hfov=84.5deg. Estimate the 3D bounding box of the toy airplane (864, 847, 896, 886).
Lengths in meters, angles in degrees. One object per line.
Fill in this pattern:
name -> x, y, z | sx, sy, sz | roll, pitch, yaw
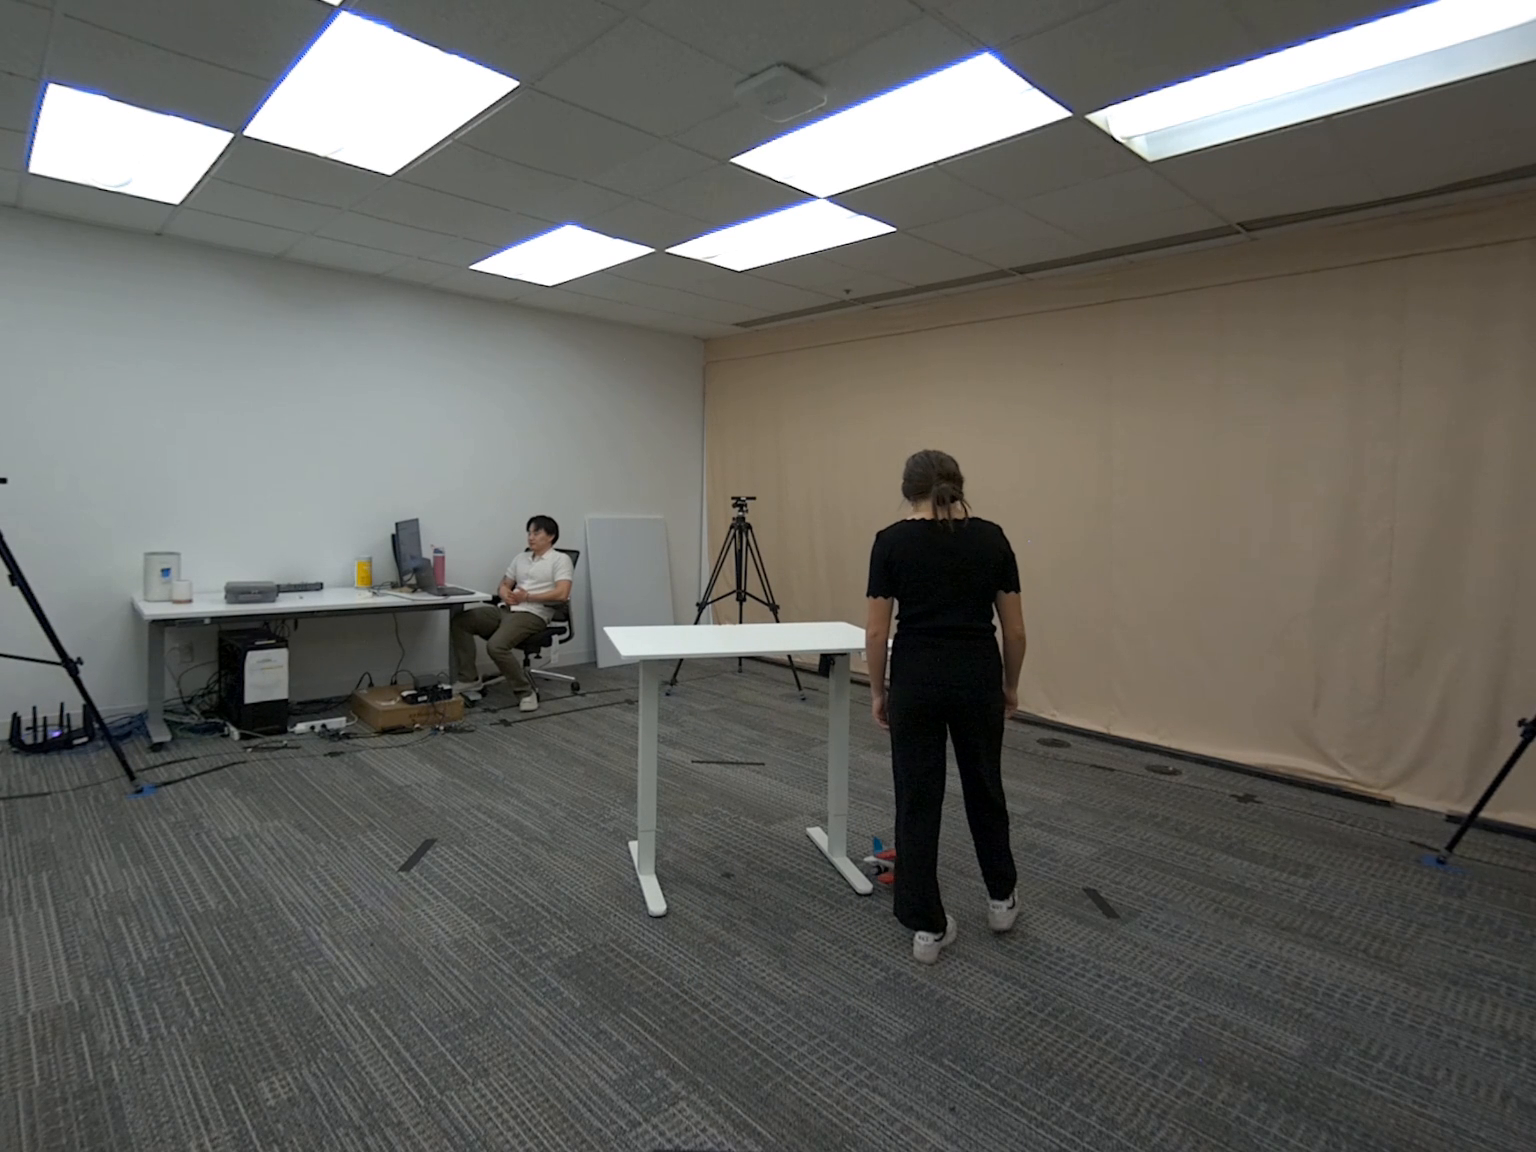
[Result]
toy airplane -> 0.447, 1.052, 3.062 | 0.264, 0.156, 0.247 | 6, 6, 26
